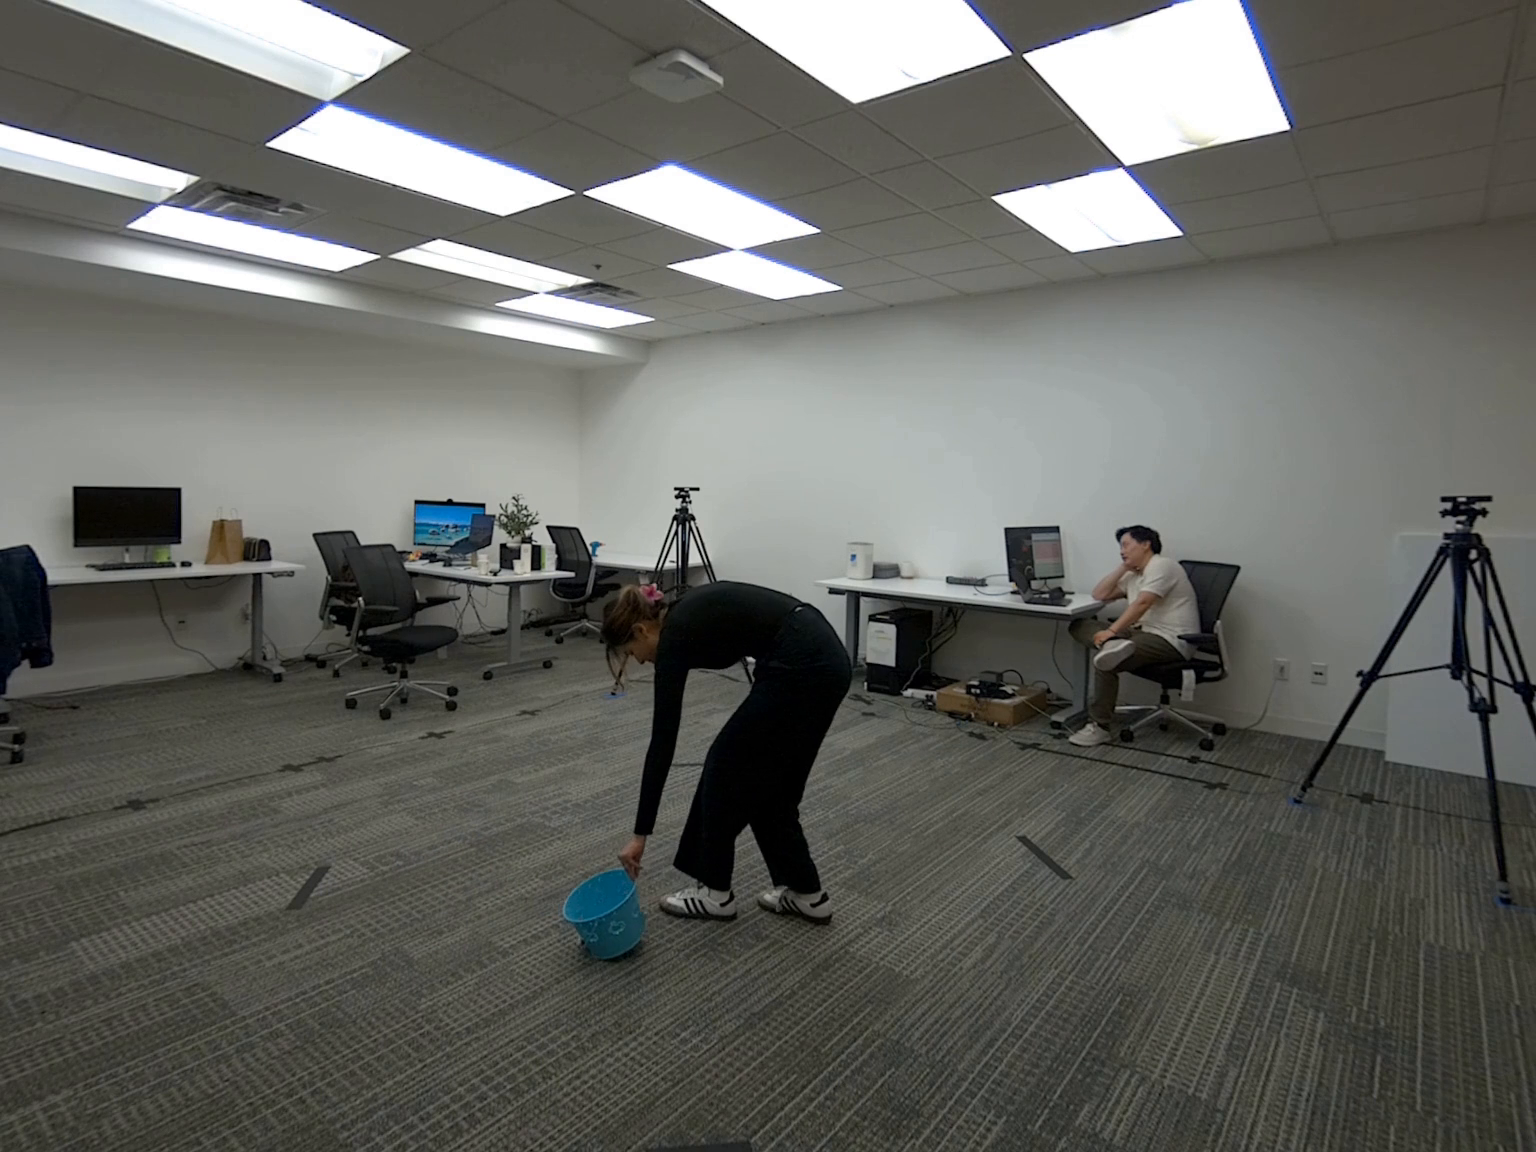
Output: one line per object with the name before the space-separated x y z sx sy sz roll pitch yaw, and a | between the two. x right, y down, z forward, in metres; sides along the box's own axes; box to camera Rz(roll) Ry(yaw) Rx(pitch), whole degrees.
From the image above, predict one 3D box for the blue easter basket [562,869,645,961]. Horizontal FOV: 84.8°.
blue easter basket | -0.492 1.015 2.548 0.244 0.154 0.247 -18 13 2
